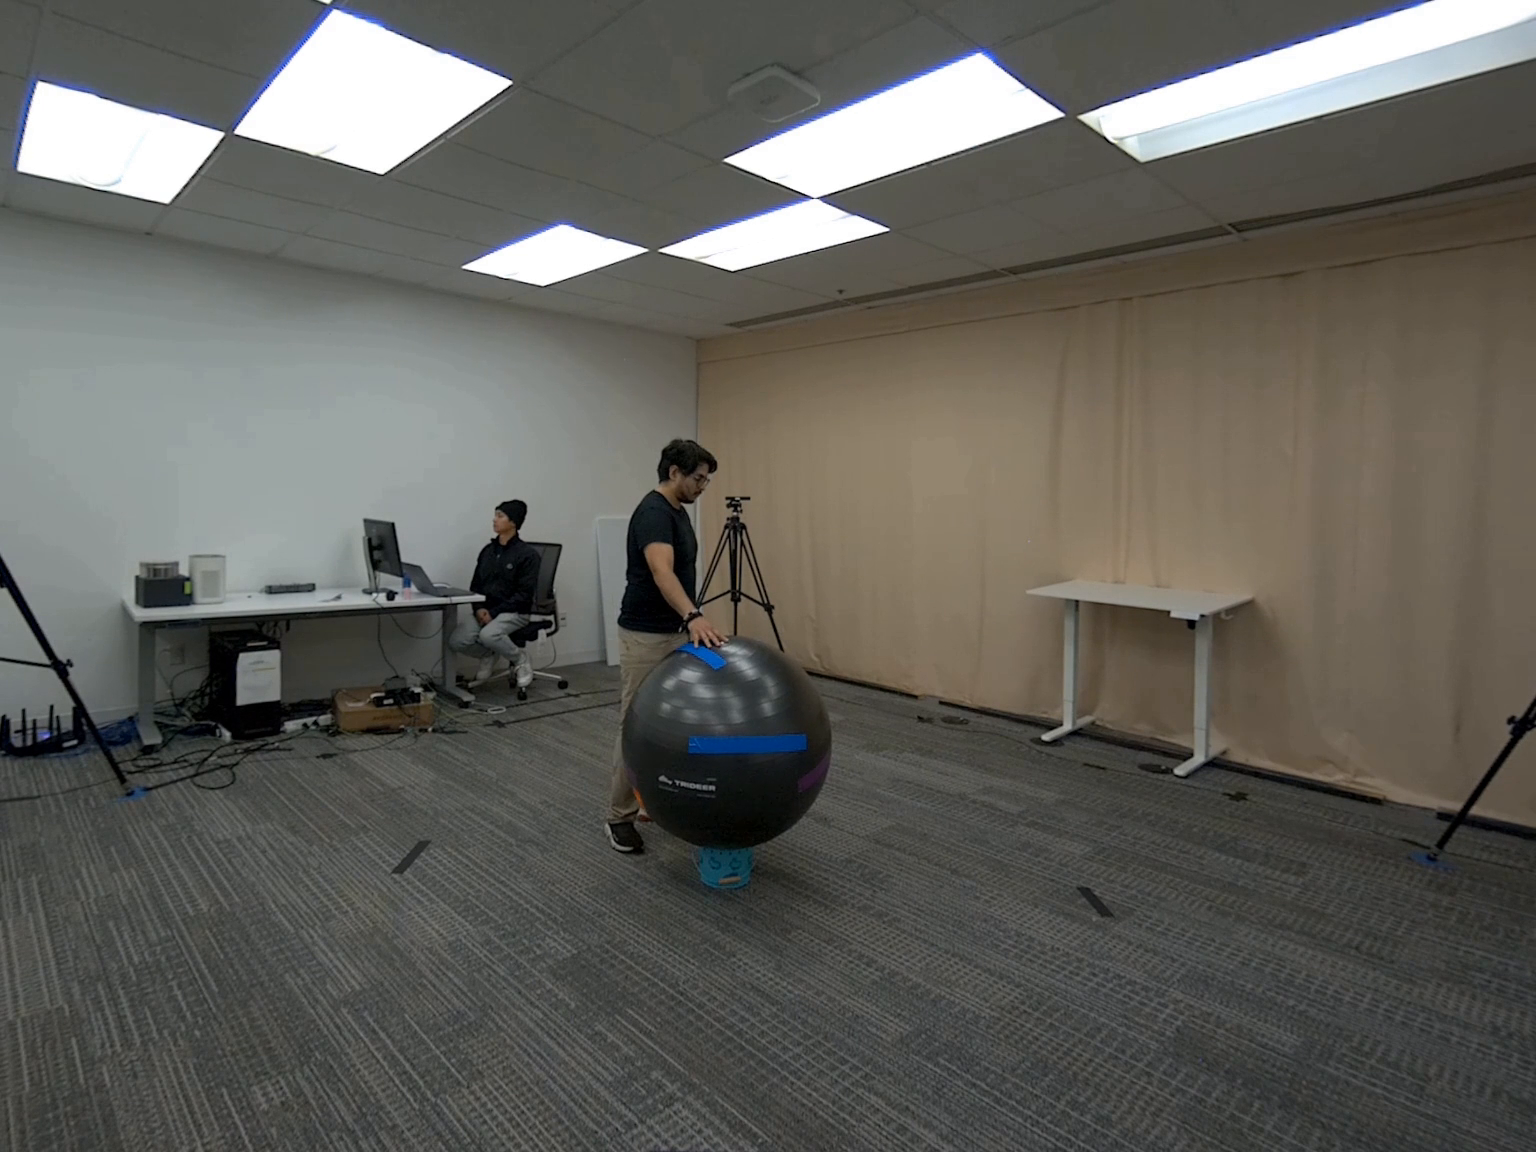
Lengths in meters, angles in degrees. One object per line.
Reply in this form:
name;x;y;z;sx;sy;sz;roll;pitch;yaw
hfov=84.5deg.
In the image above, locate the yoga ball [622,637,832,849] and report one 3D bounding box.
yoga ball;-0.149;0.603;3.053;0.757;0.756;0.760;1;4;-1
